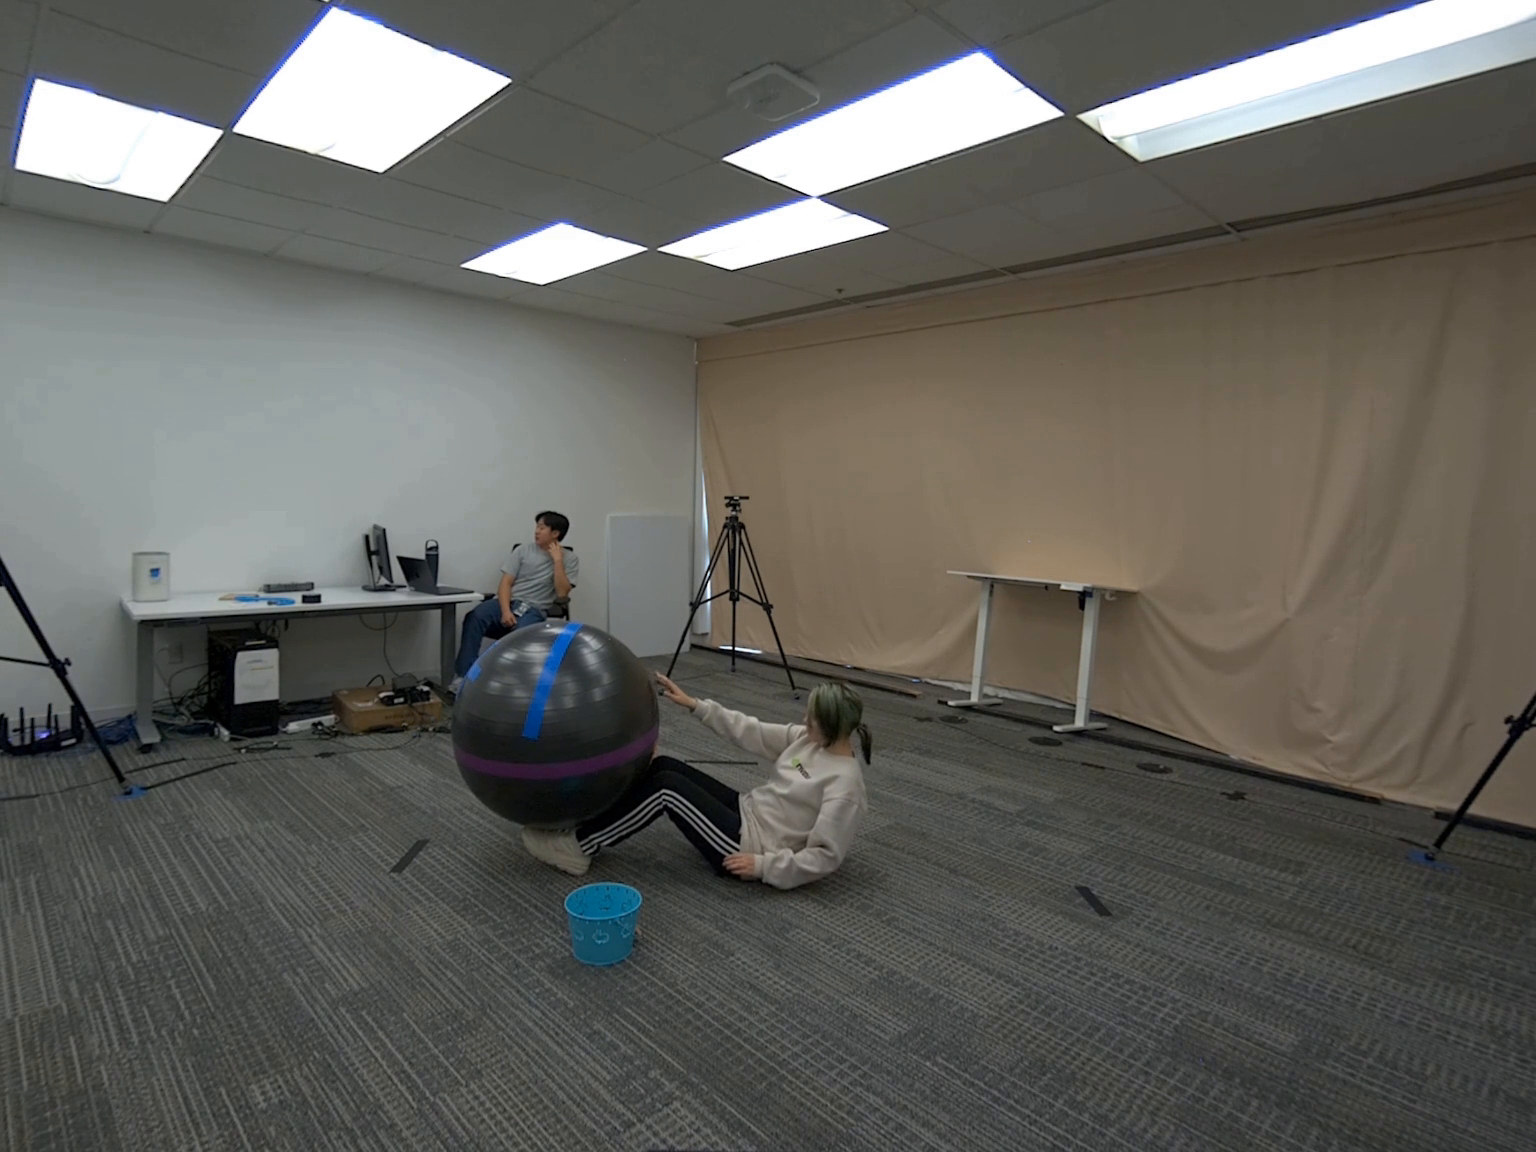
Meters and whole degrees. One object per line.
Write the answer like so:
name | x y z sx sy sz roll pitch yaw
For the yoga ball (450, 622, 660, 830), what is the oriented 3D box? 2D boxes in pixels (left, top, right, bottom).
yoga ball | -0.802 0.552 3.139 0.757 0.756 0.761 1 4 -1
